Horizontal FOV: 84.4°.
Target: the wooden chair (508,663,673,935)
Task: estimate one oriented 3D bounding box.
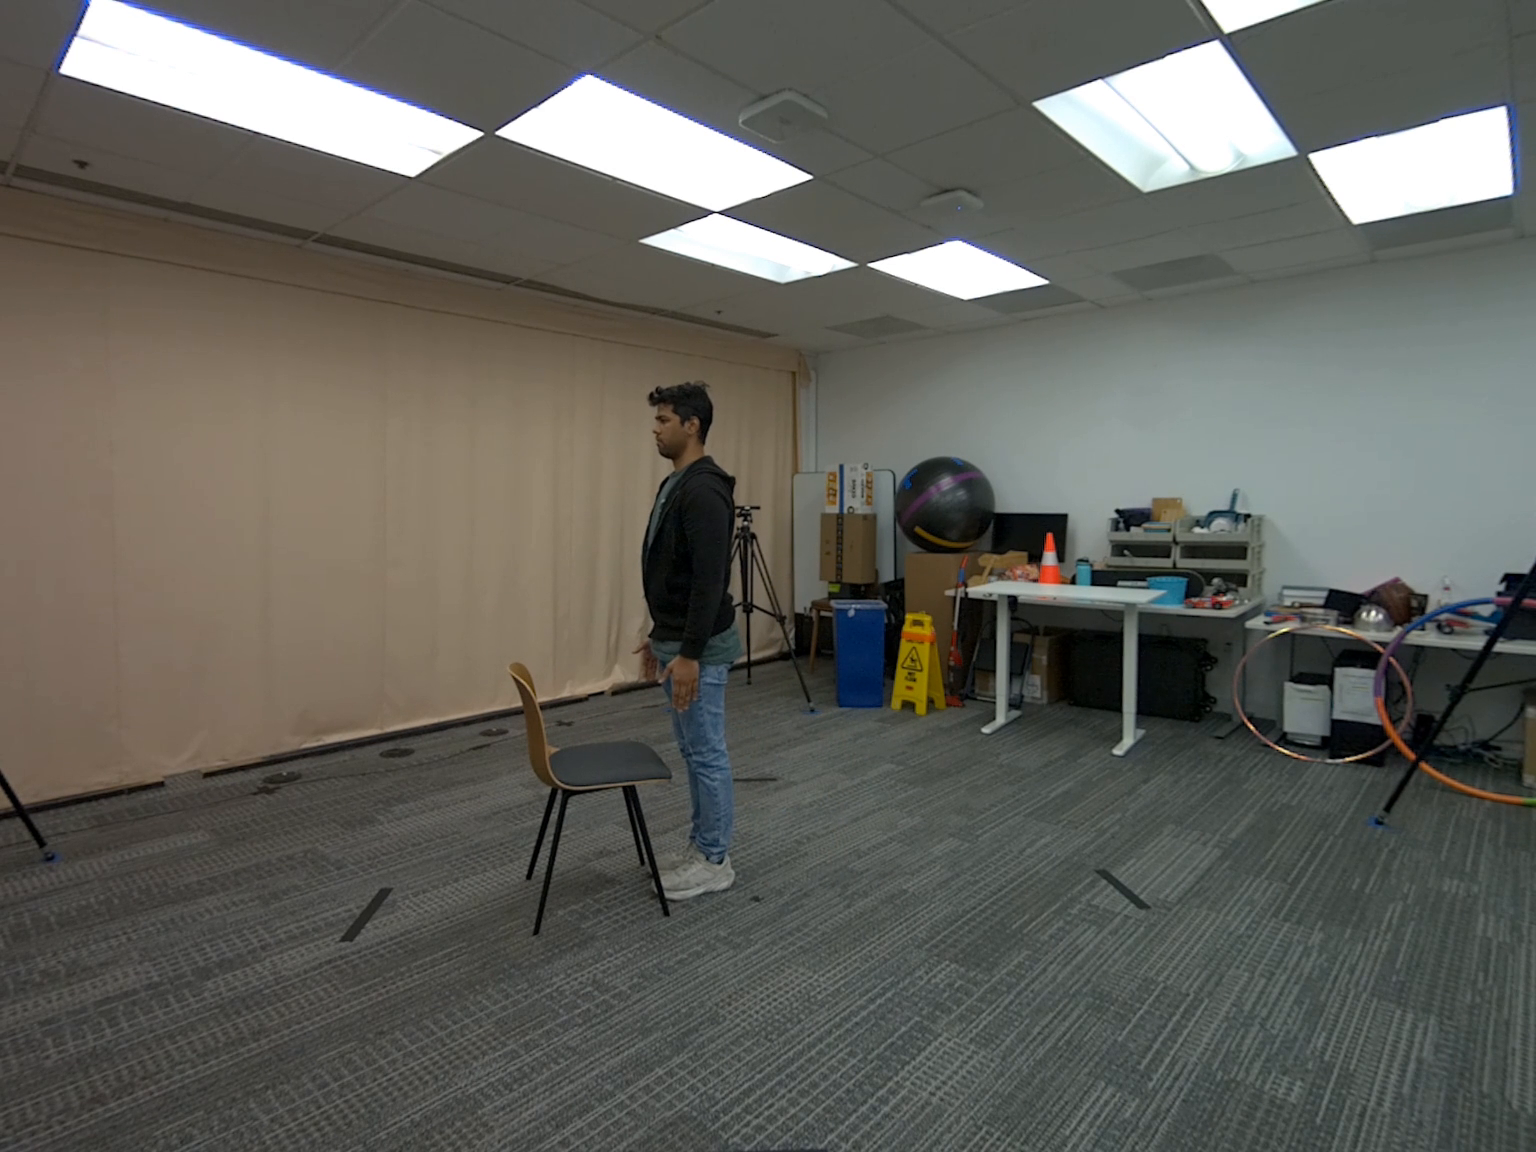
[{"bbox_3d":[-0.615,0.720,2.983,0.514,0.875,0.487,-6,4,-17],"label":"wooden chair"}]
